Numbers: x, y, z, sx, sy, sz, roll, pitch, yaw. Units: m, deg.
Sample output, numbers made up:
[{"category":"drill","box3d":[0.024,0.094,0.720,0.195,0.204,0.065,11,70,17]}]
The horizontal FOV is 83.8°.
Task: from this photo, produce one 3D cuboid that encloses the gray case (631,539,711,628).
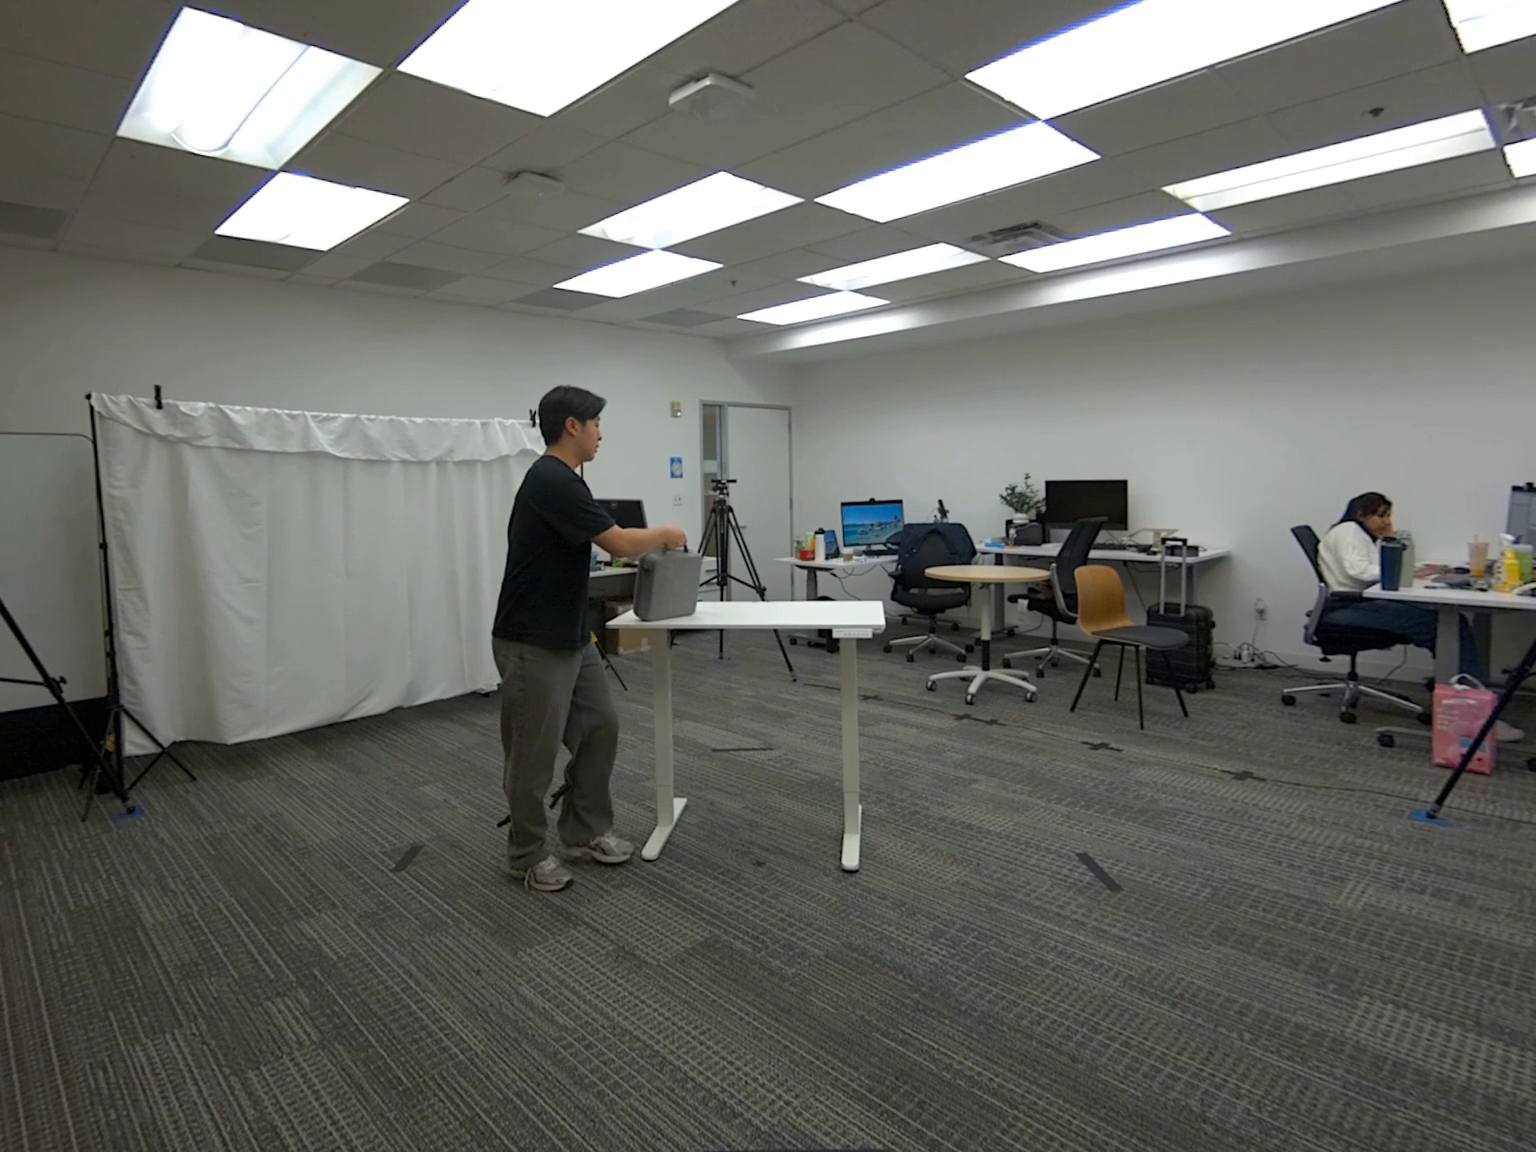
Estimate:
[{"category":"gray case","box3d":[-0.365,0.021,3.212,0.256,0.284,0.107,-6,19,-45]}]
